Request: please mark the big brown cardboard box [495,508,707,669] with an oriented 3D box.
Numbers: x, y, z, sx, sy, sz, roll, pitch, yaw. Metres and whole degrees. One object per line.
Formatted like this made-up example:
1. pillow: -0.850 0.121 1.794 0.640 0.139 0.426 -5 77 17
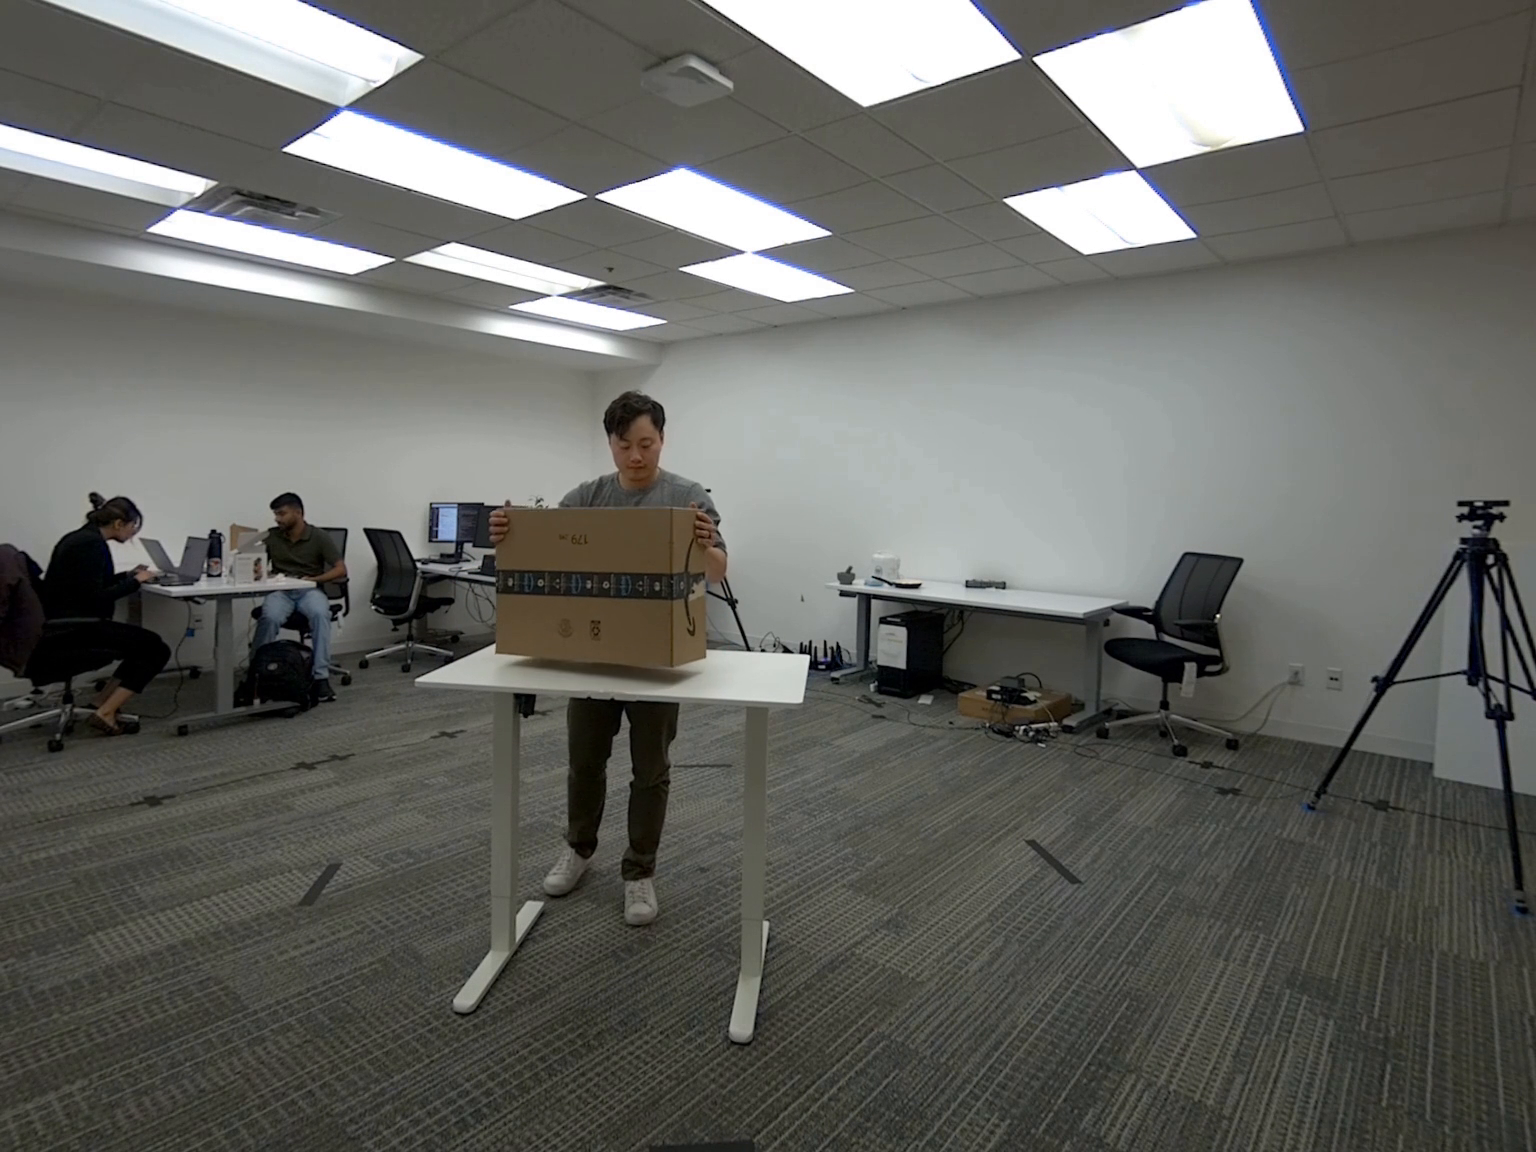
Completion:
1. big brown cardboard box: -0.487 0.020 2.396 0.603 0.417 0.228 1 1 23
